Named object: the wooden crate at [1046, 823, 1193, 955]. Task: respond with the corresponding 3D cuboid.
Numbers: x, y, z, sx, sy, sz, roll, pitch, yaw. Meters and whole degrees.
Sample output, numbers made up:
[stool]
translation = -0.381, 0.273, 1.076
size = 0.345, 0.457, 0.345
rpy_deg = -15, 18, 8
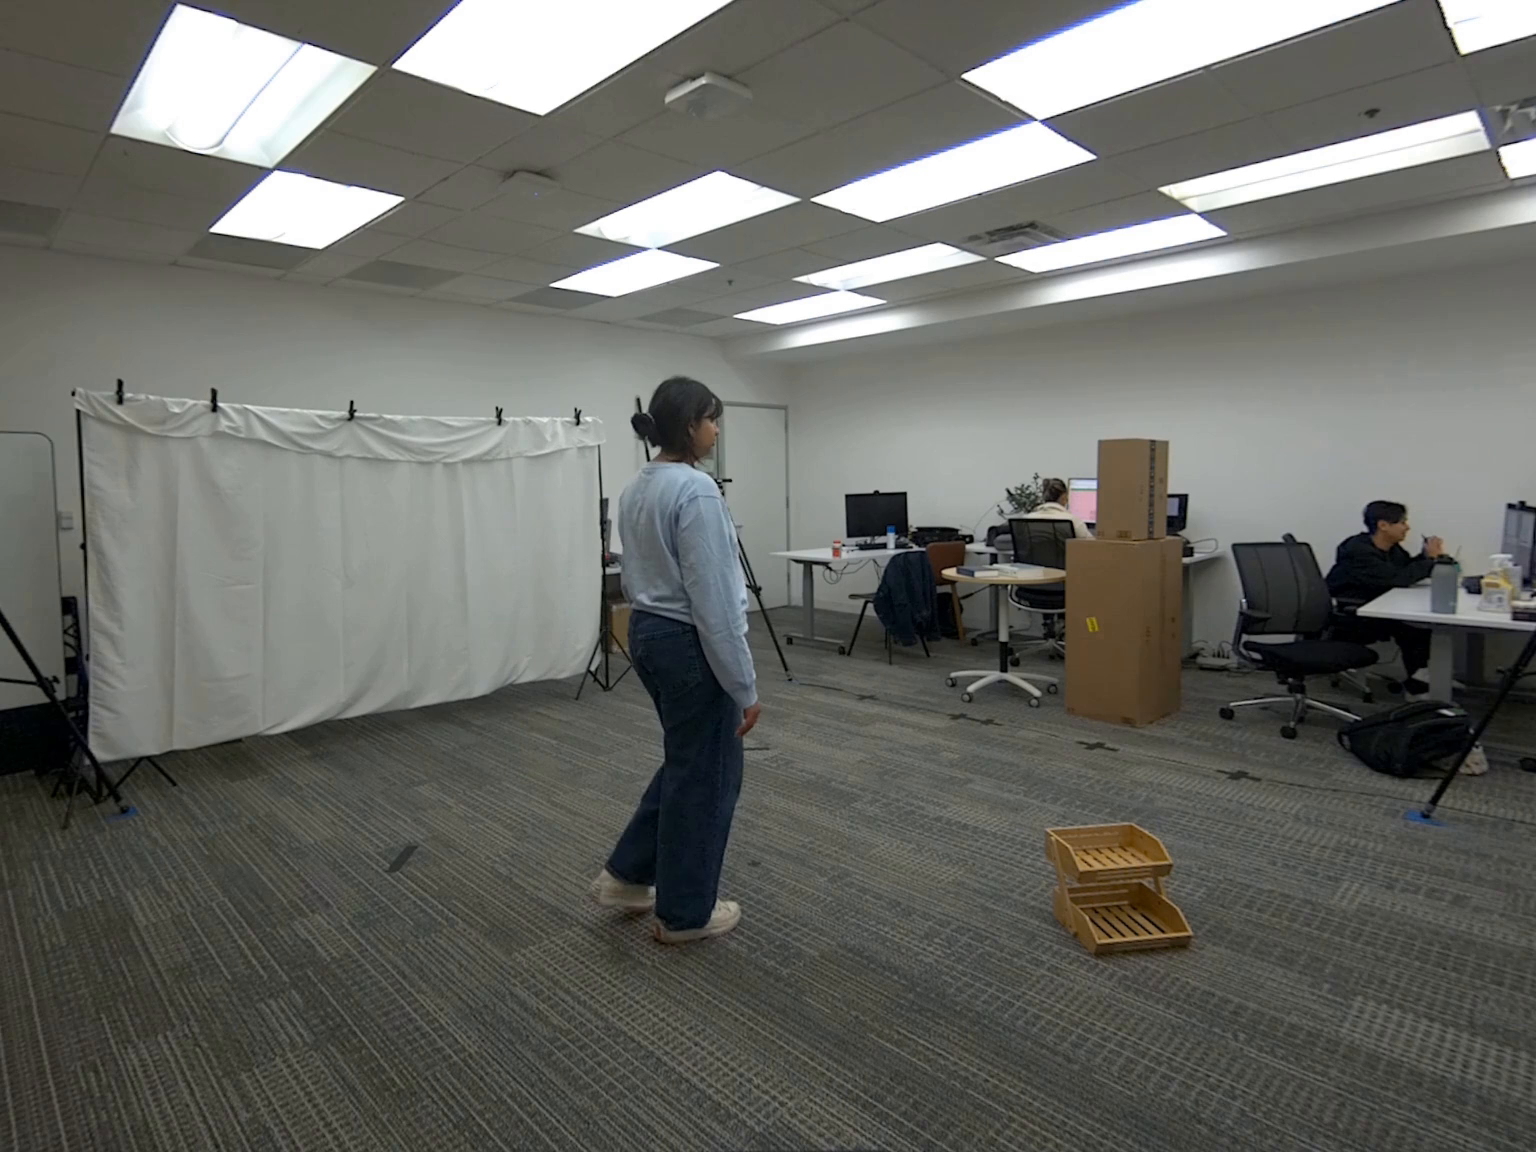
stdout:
[wooden crate]
translation = 1.082, 0.953, 2.611
size = 0.322, 0.272, 0.306
rpy_deg = -2, 5, -9
